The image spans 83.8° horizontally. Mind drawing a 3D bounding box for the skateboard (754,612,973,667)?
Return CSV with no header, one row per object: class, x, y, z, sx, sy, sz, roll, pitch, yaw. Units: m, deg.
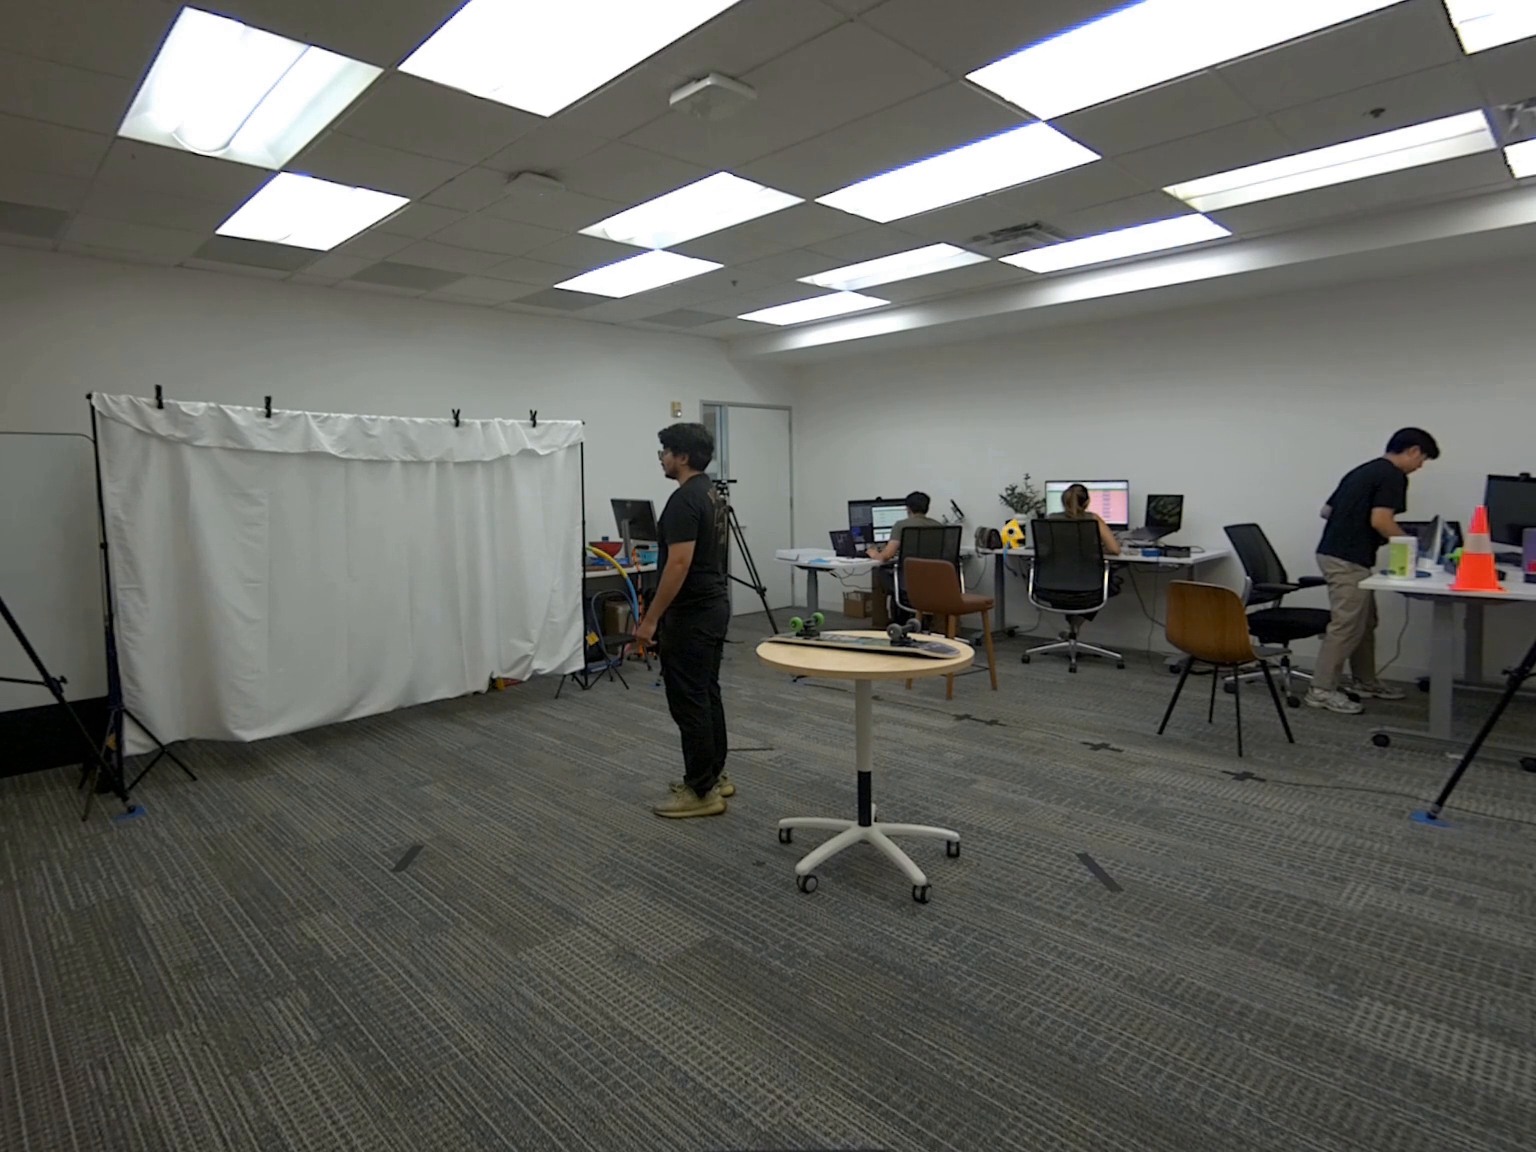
skateboard,0.322,0.218,3.115,0.808,0.110,0.189,1,7,38
